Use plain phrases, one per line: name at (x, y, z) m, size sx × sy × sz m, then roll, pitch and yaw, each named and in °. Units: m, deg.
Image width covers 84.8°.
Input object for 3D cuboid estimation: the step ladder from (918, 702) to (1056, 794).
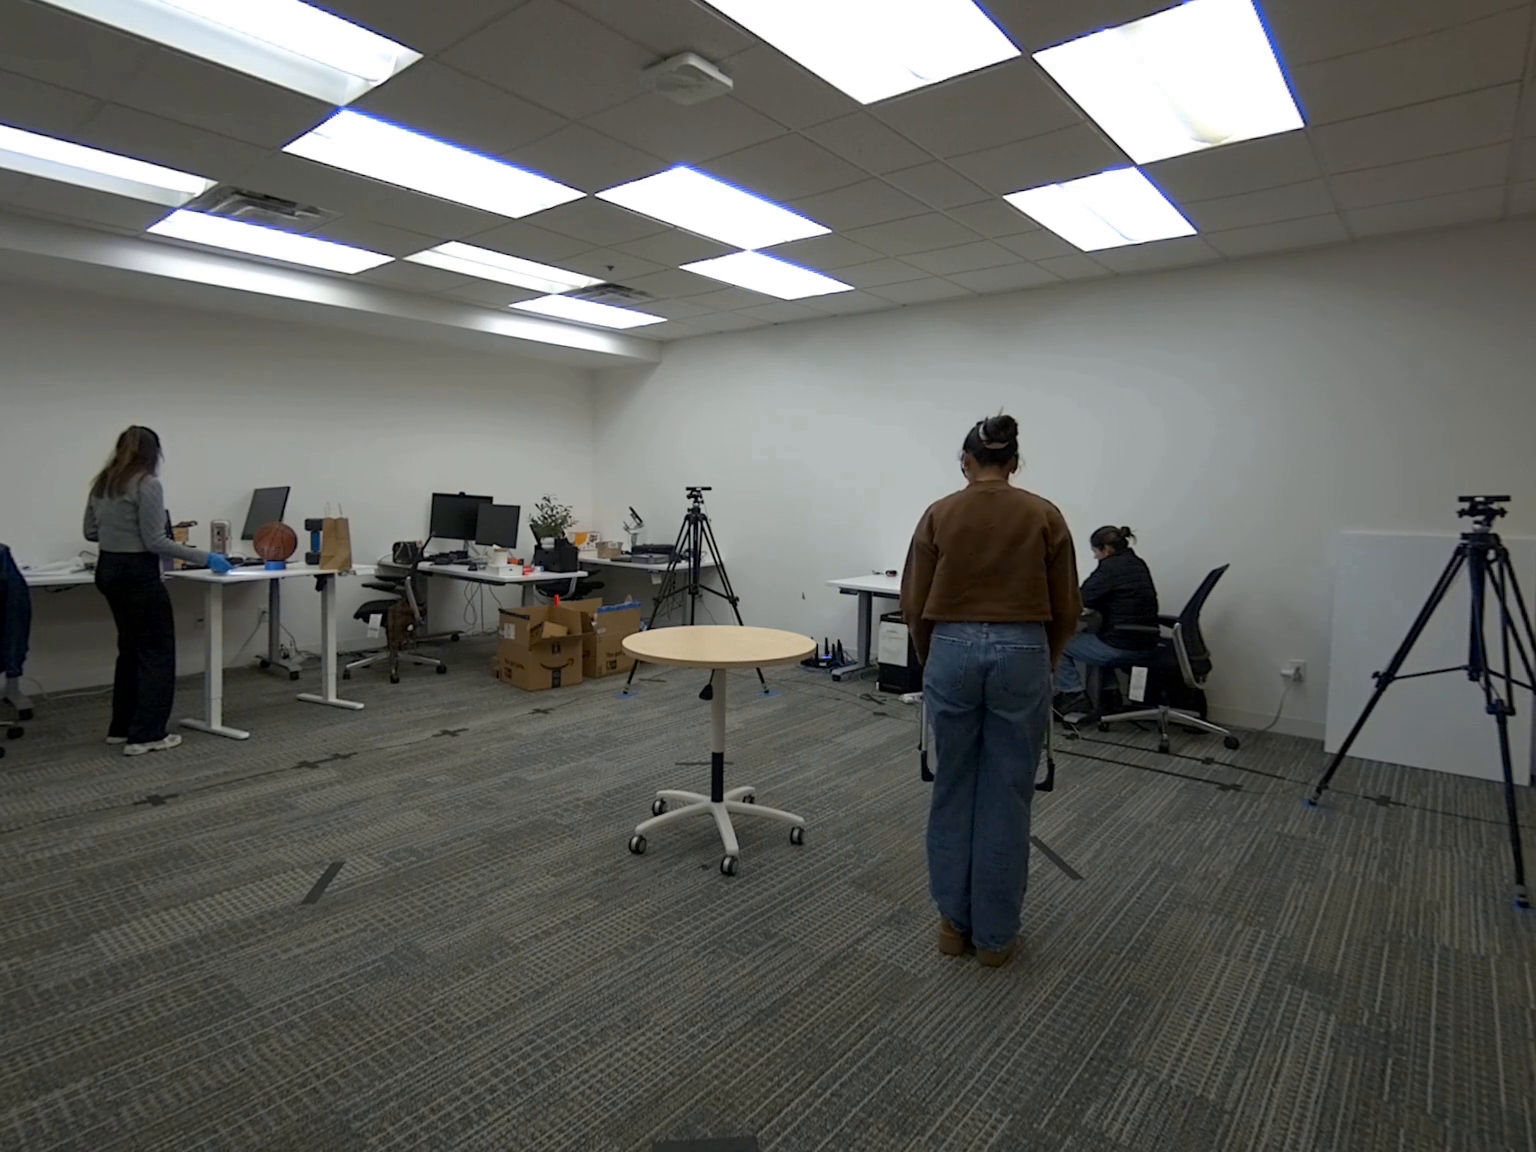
step ladder at (0.726, 0.368, 2.902) m, size 0.436 × 0.603 × 0.347 m, roll 1°, pitch 5°, yaw 11°
